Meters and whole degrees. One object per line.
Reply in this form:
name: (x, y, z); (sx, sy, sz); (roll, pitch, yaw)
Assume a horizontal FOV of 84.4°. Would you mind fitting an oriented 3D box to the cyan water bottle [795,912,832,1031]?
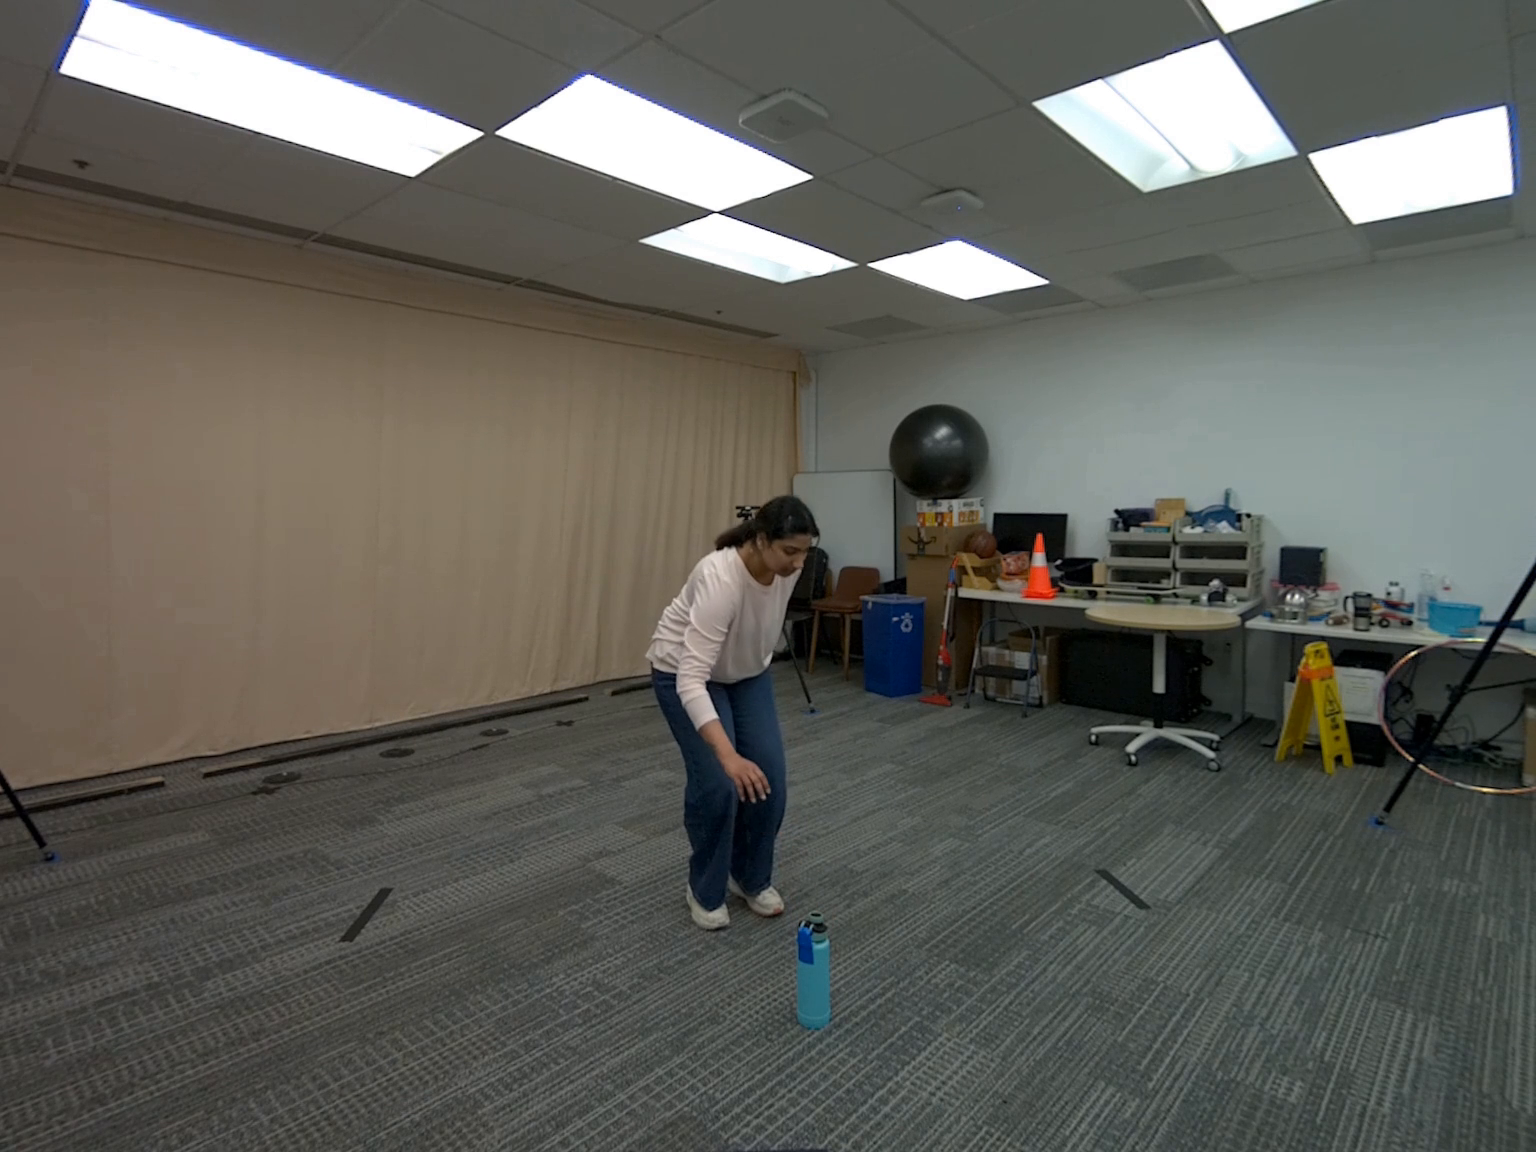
cyan water bottle: (0.131, 1.064, 2.273); (0.092, 0.283, 0.092); (2, 3, -2)
